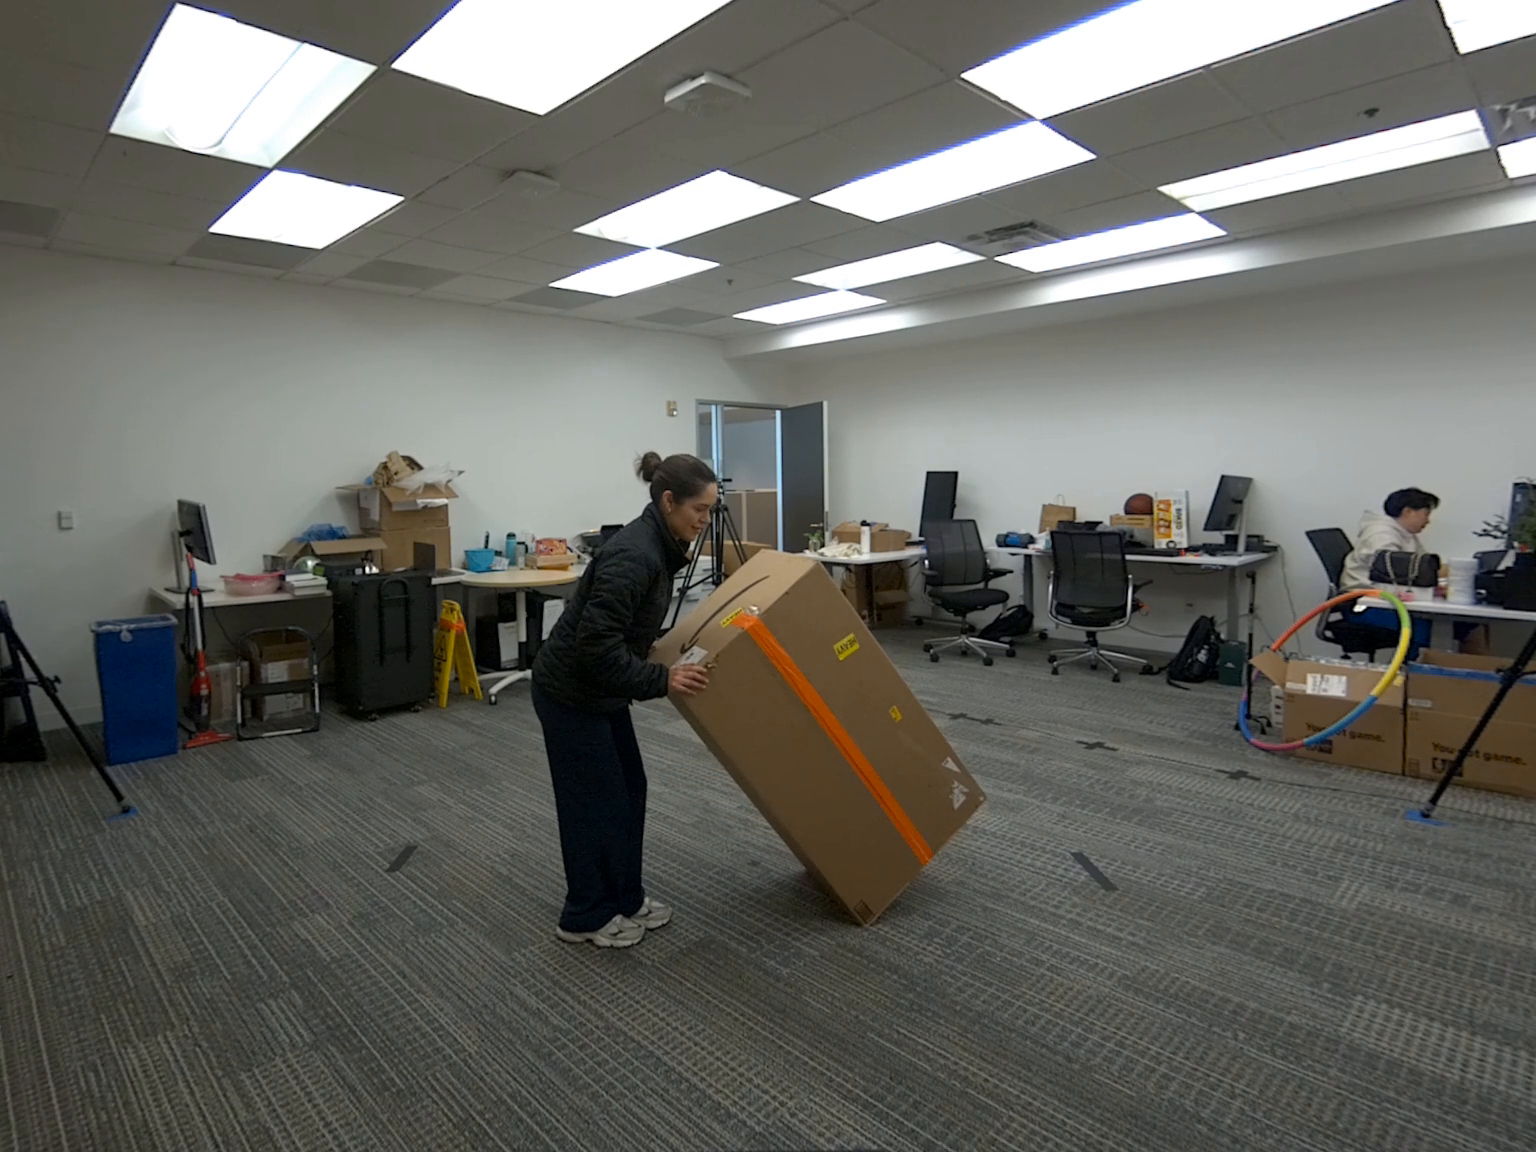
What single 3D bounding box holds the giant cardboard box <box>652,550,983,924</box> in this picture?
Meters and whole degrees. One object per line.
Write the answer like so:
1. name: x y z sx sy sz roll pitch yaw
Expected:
1. giant cardboard box: 0.144 0.496 2.802 0.583 1.005 0.457 -41 18 -14
